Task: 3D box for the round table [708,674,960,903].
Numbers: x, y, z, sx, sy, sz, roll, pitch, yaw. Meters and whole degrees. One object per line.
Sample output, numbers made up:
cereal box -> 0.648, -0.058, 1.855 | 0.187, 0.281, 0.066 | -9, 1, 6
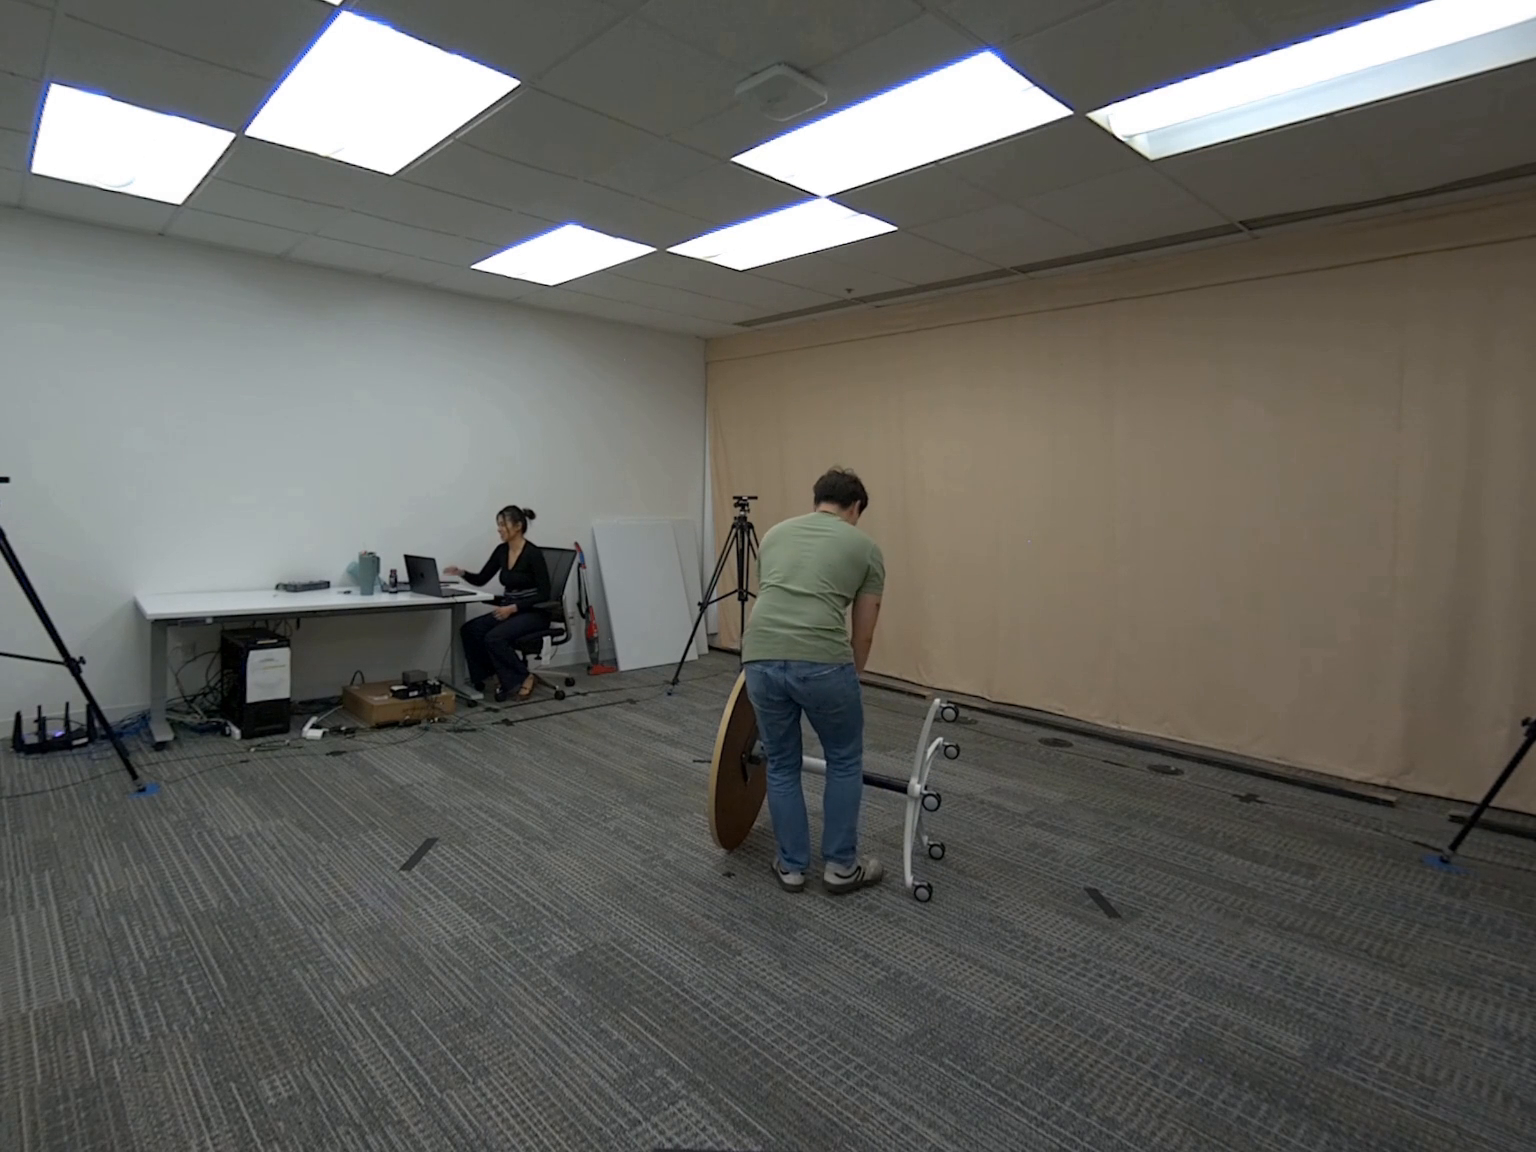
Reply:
round table -> 0.282, 0.757, 3.235 | 0.807, 0.761, 0.754 | 9, 6, 18
